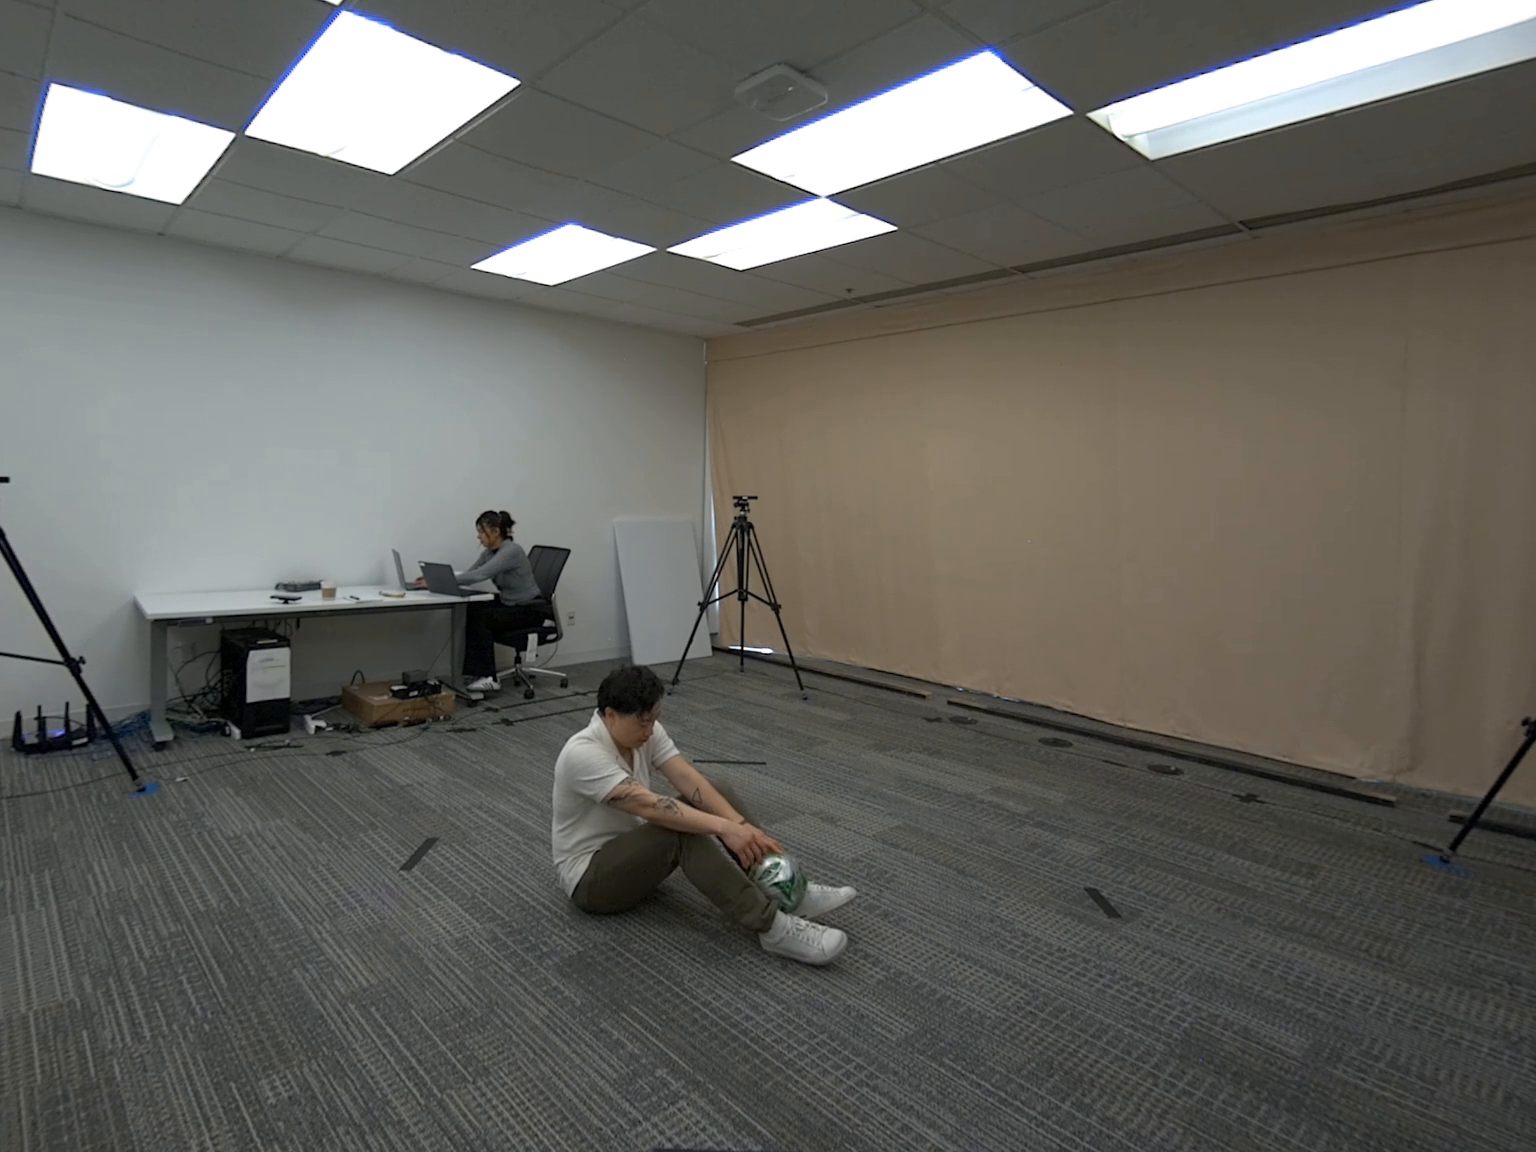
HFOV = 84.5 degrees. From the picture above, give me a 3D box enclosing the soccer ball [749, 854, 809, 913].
[{"bbox_3d":[0.006,0.972,2.644,0.187,0.187,0.188,1,4,-1],"label":"soccer ball"}]
